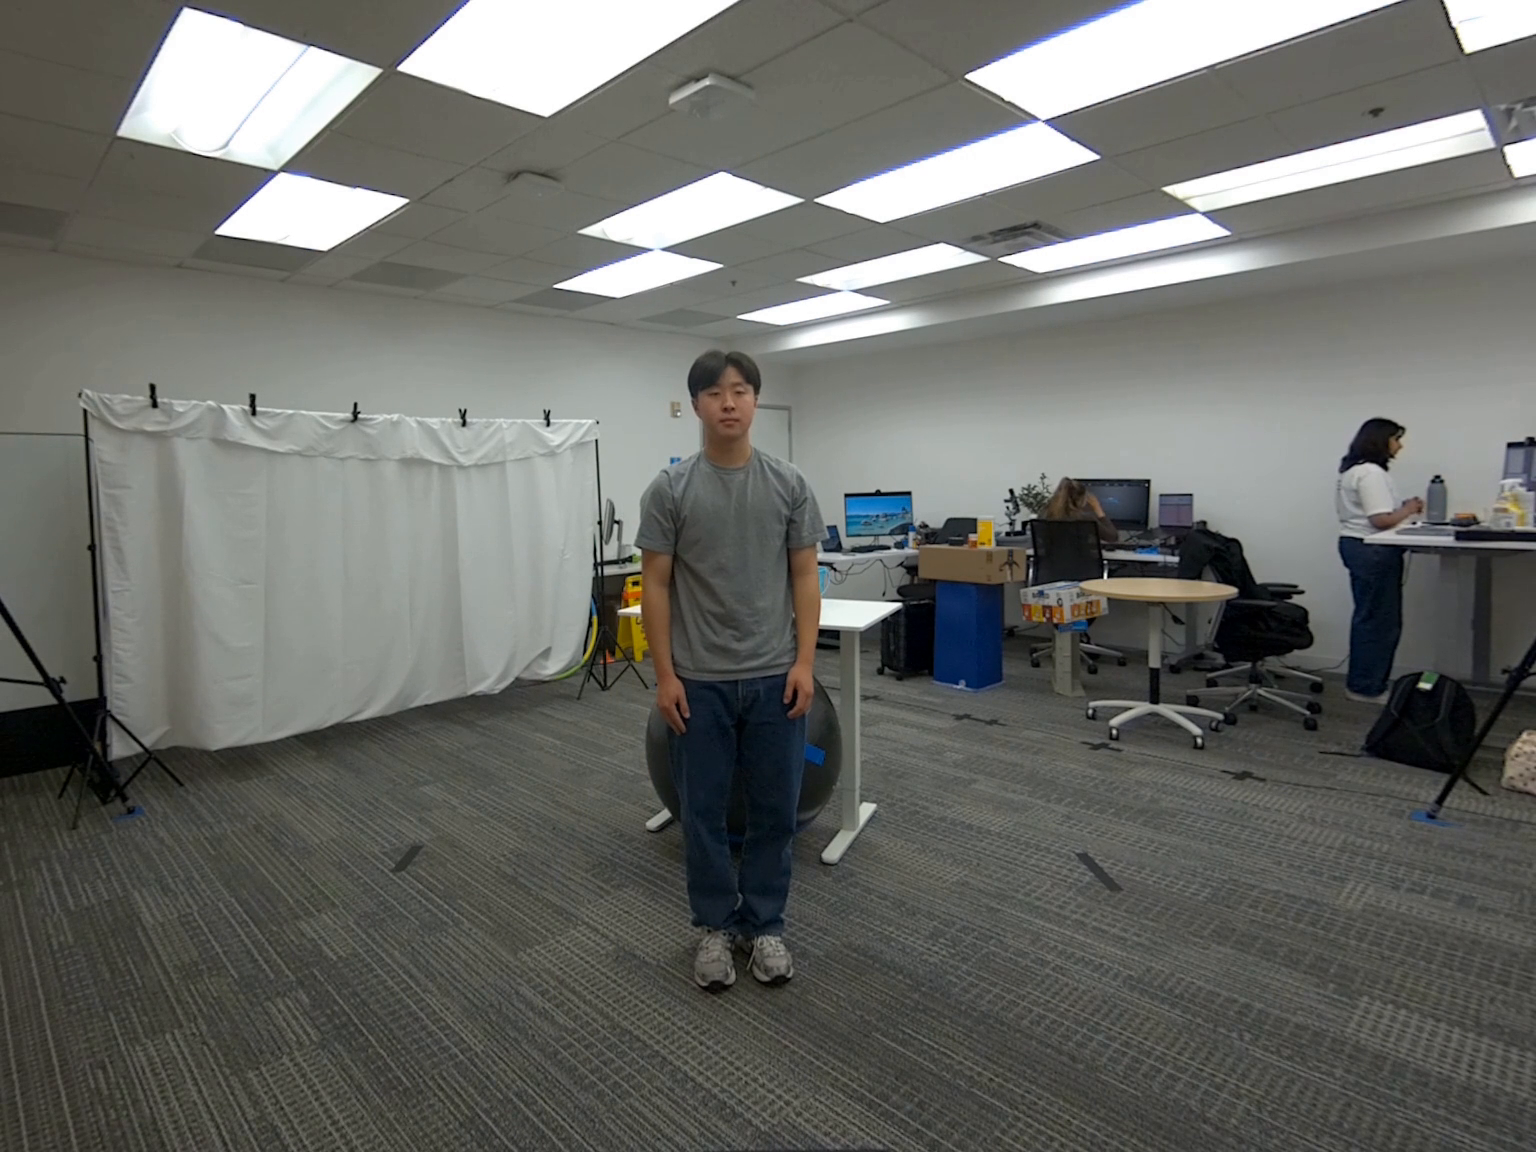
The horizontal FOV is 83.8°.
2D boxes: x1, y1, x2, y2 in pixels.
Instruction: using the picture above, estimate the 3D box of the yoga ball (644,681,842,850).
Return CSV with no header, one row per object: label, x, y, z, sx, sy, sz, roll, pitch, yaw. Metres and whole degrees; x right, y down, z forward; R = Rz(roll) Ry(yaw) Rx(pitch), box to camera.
yoga ball,-0.090,0.647,3.302,0.757,0.755,0.762,-1,5,-2
